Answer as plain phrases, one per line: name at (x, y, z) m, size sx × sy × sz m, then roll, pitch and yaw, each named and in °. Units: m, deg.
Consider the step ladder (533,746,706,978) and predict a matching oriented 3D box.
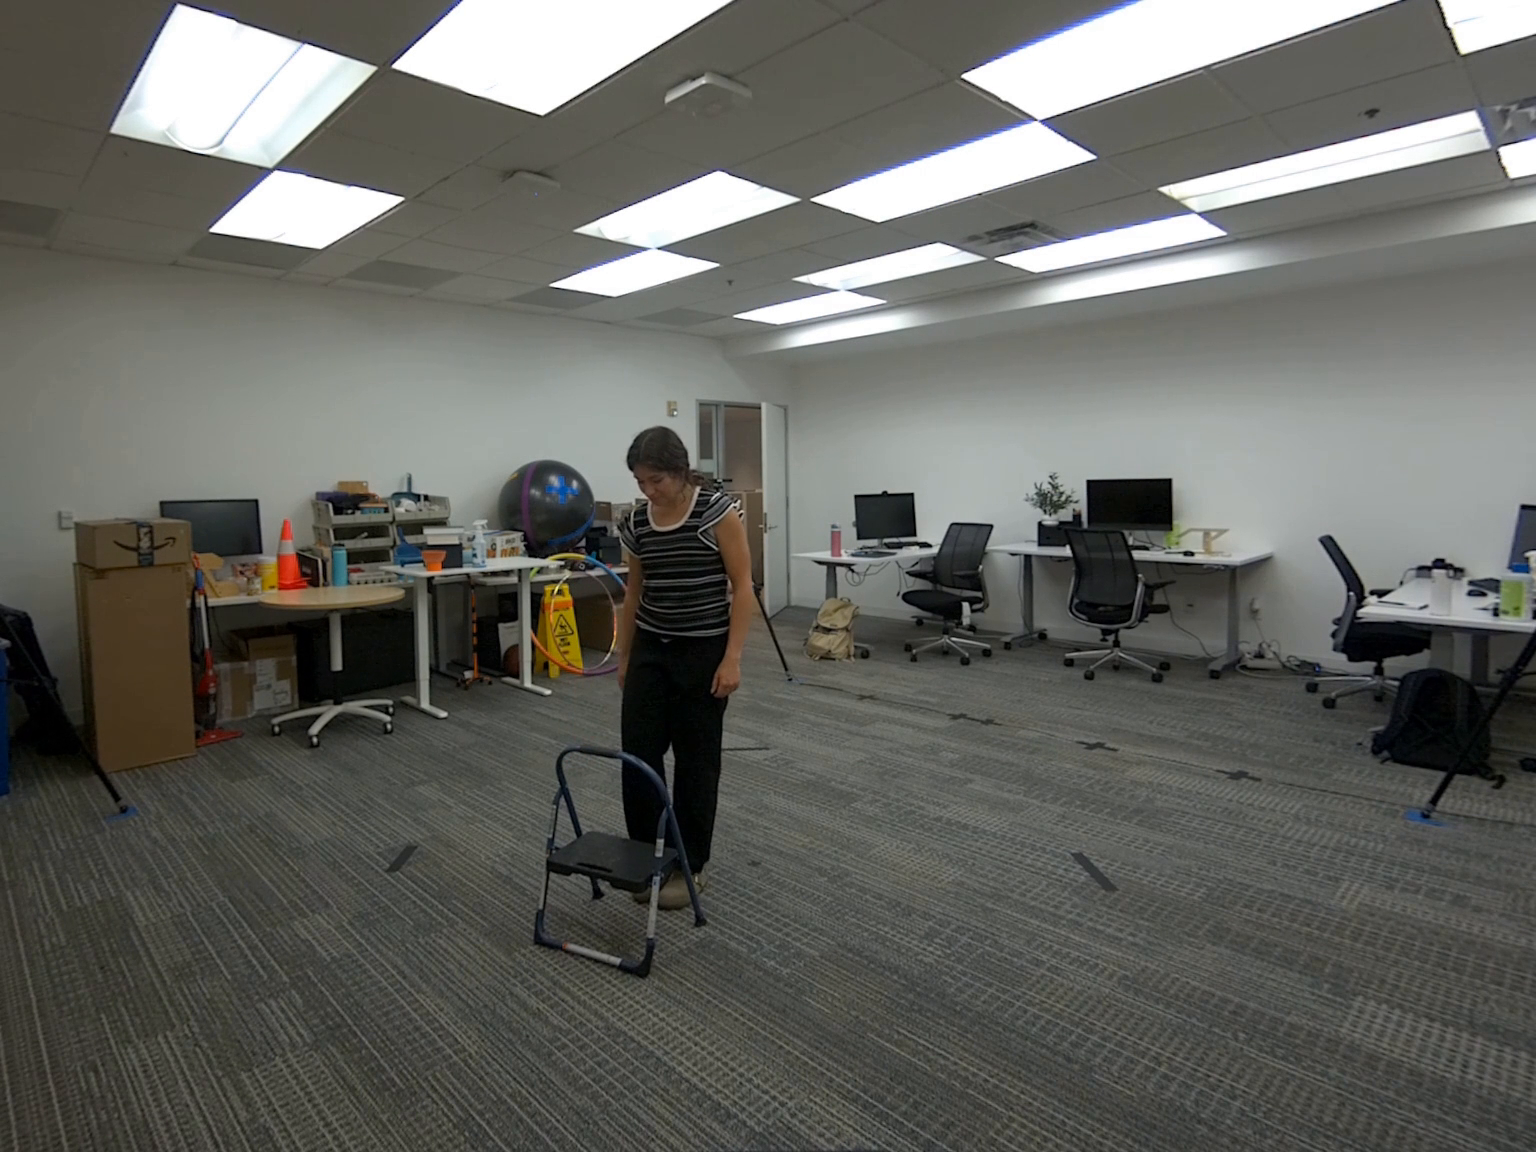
step ladder at (-0.463, 0.808, 2.626) m, size 0.441 × 0.603 × 0.342 m, roll 1°, pitch 6°, yaw 27°
